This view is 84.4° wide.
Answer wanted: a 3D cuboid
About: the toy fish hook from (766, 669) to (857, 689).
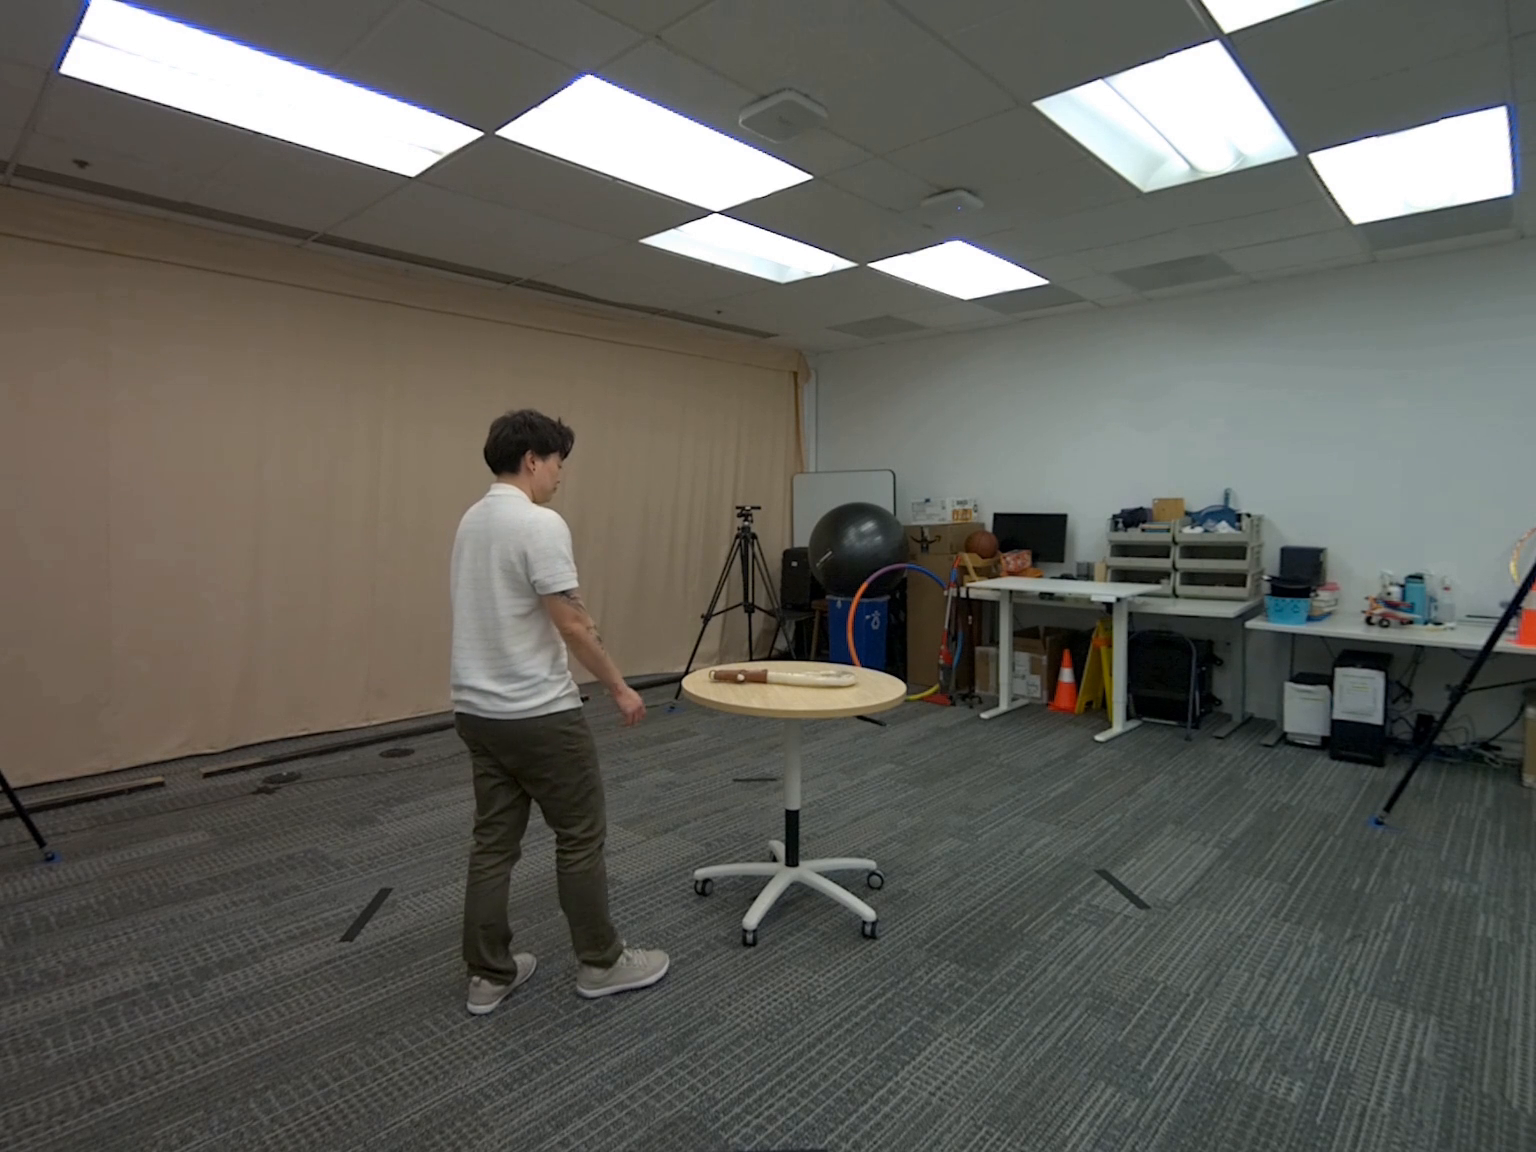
[{"bbox_3d":[0.059,0.351,2.926,0.510,0.048,0.222,2,-3,7],"label":"toy fish hook"}]
